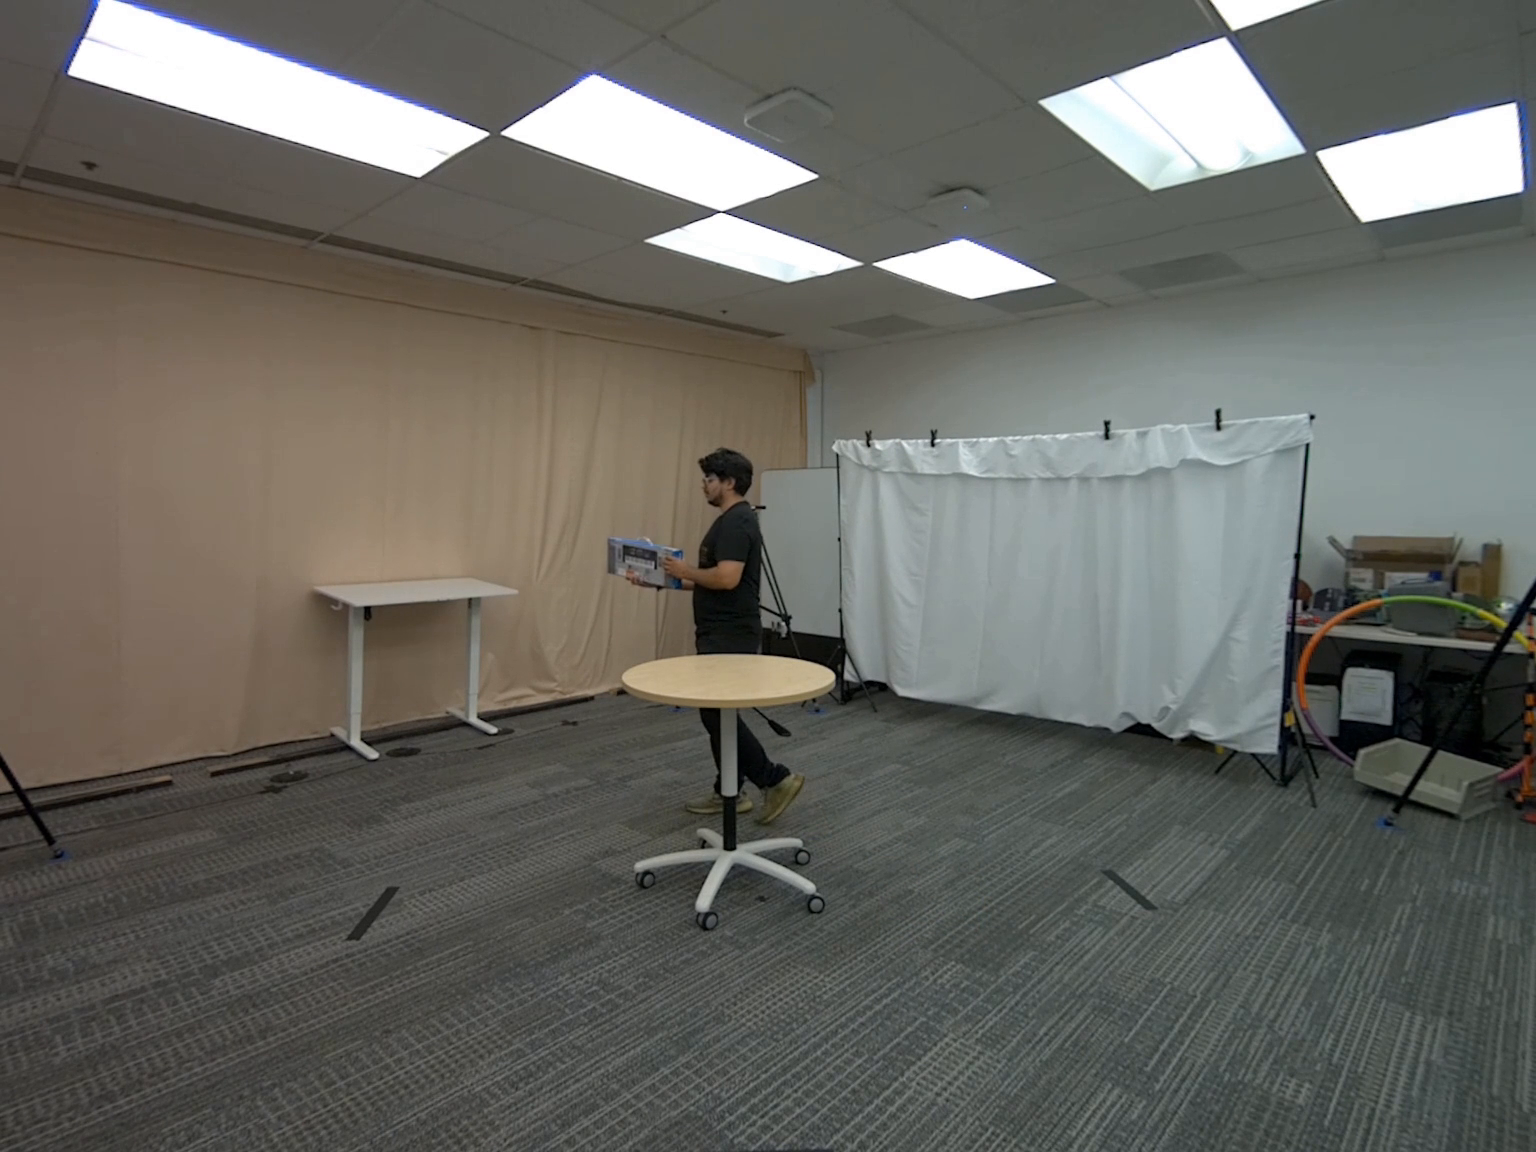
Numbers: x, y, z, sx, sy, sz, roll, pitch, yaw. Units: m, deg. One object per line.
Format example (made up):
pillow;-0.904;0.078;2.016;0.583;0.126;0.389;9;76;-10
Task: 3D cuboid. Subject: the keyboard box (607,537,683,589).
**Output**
keyboard box;-0.573;-0.061;3.918;0.452;0.175;0.057;12;14;38
